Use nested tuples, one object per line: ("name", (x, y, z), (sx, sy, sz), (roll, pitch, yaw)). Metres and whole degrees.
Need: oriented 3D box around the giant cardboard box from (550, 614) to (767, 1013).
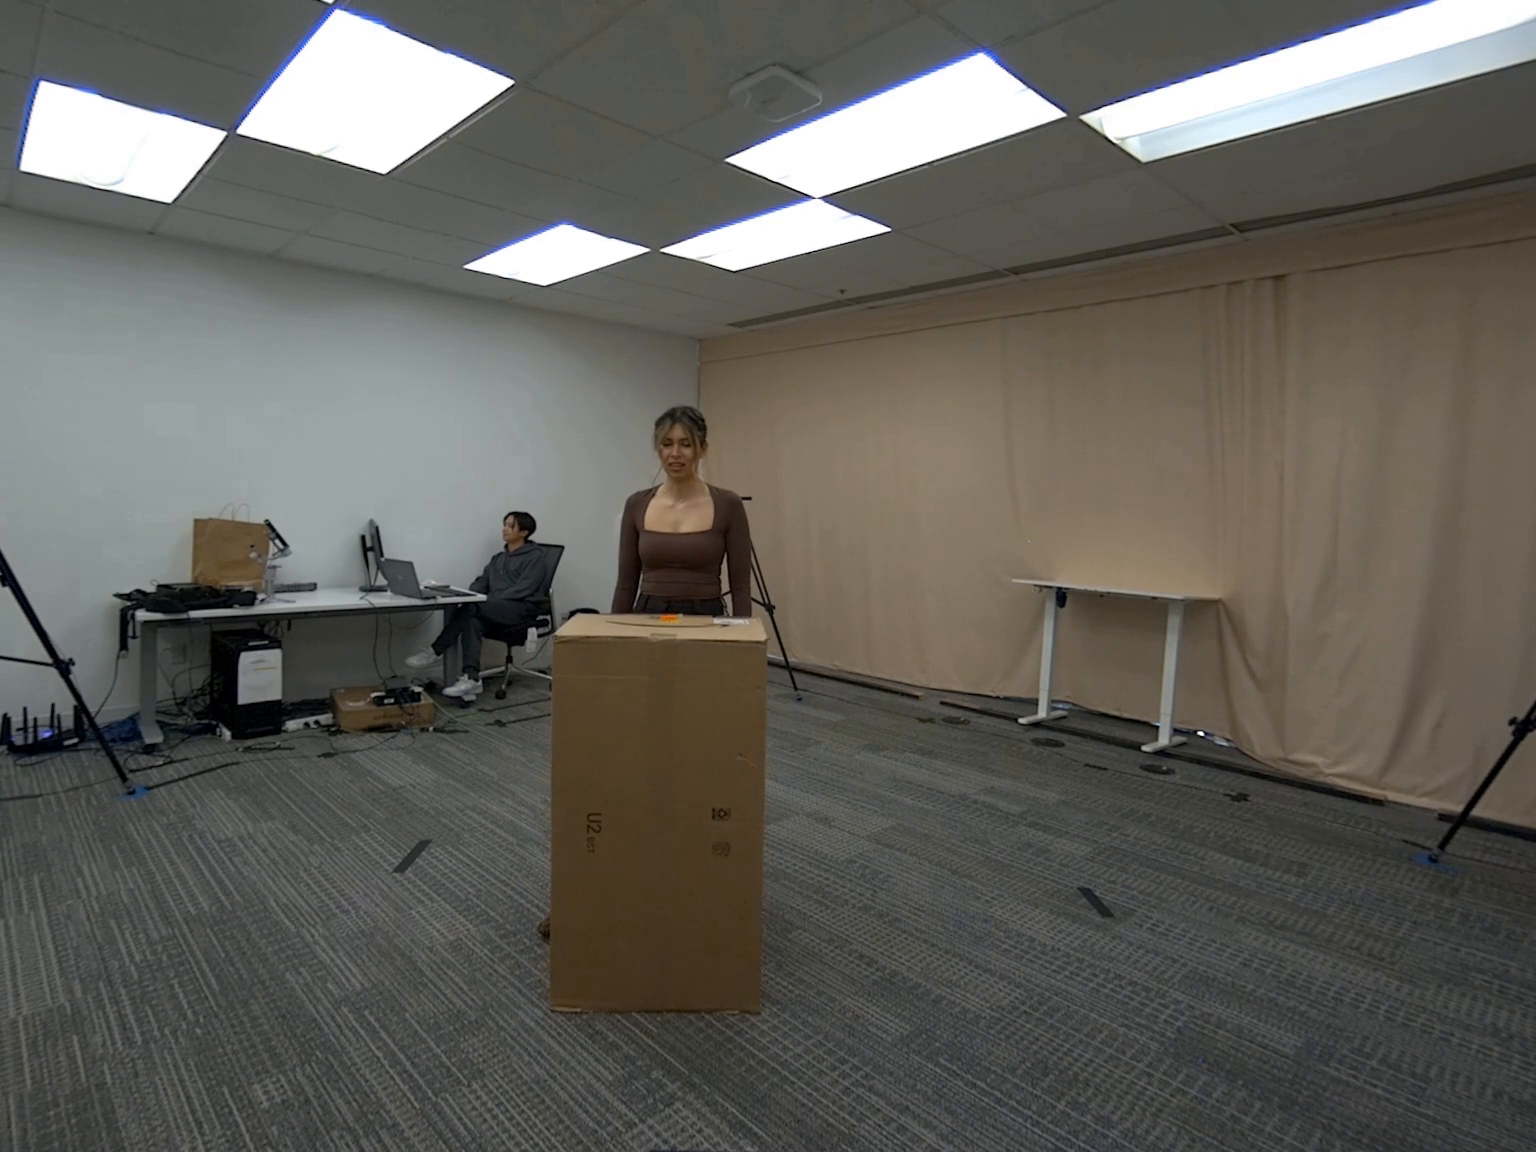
("giant cardboard box", (-0.314, 0.650, 2.451), (0.584, 1.024, 0.448), (2, 3, 0))
